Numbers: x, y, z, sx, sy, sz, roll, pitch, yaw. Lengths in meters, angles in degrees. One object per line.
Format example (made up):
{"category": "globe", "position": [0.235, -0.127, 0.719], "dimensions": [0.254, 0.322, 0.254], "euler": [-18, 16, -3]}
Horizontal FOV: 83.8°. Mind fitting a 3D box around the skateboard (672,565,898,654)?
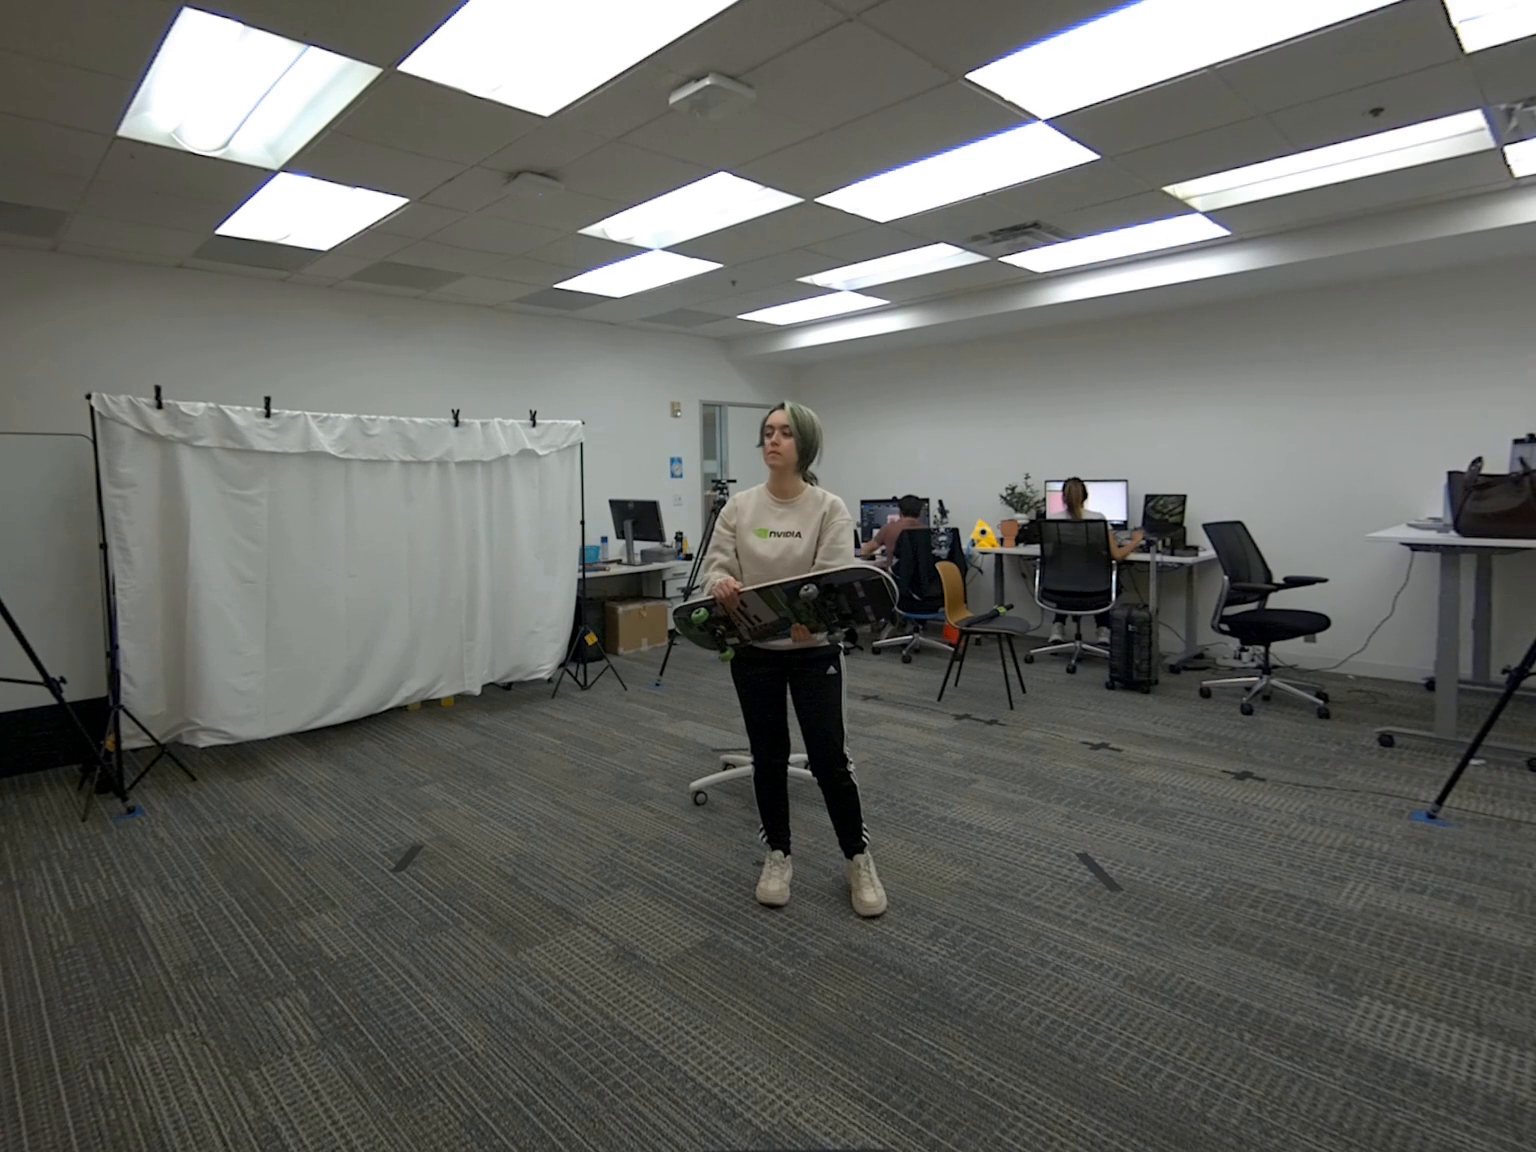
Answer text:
{"category": "skateboard", "position": [0.010, 0.126, 2.450], "dimensions": [0.802, 0.189, 0.111], "euler": [-14, 27, 39]}
